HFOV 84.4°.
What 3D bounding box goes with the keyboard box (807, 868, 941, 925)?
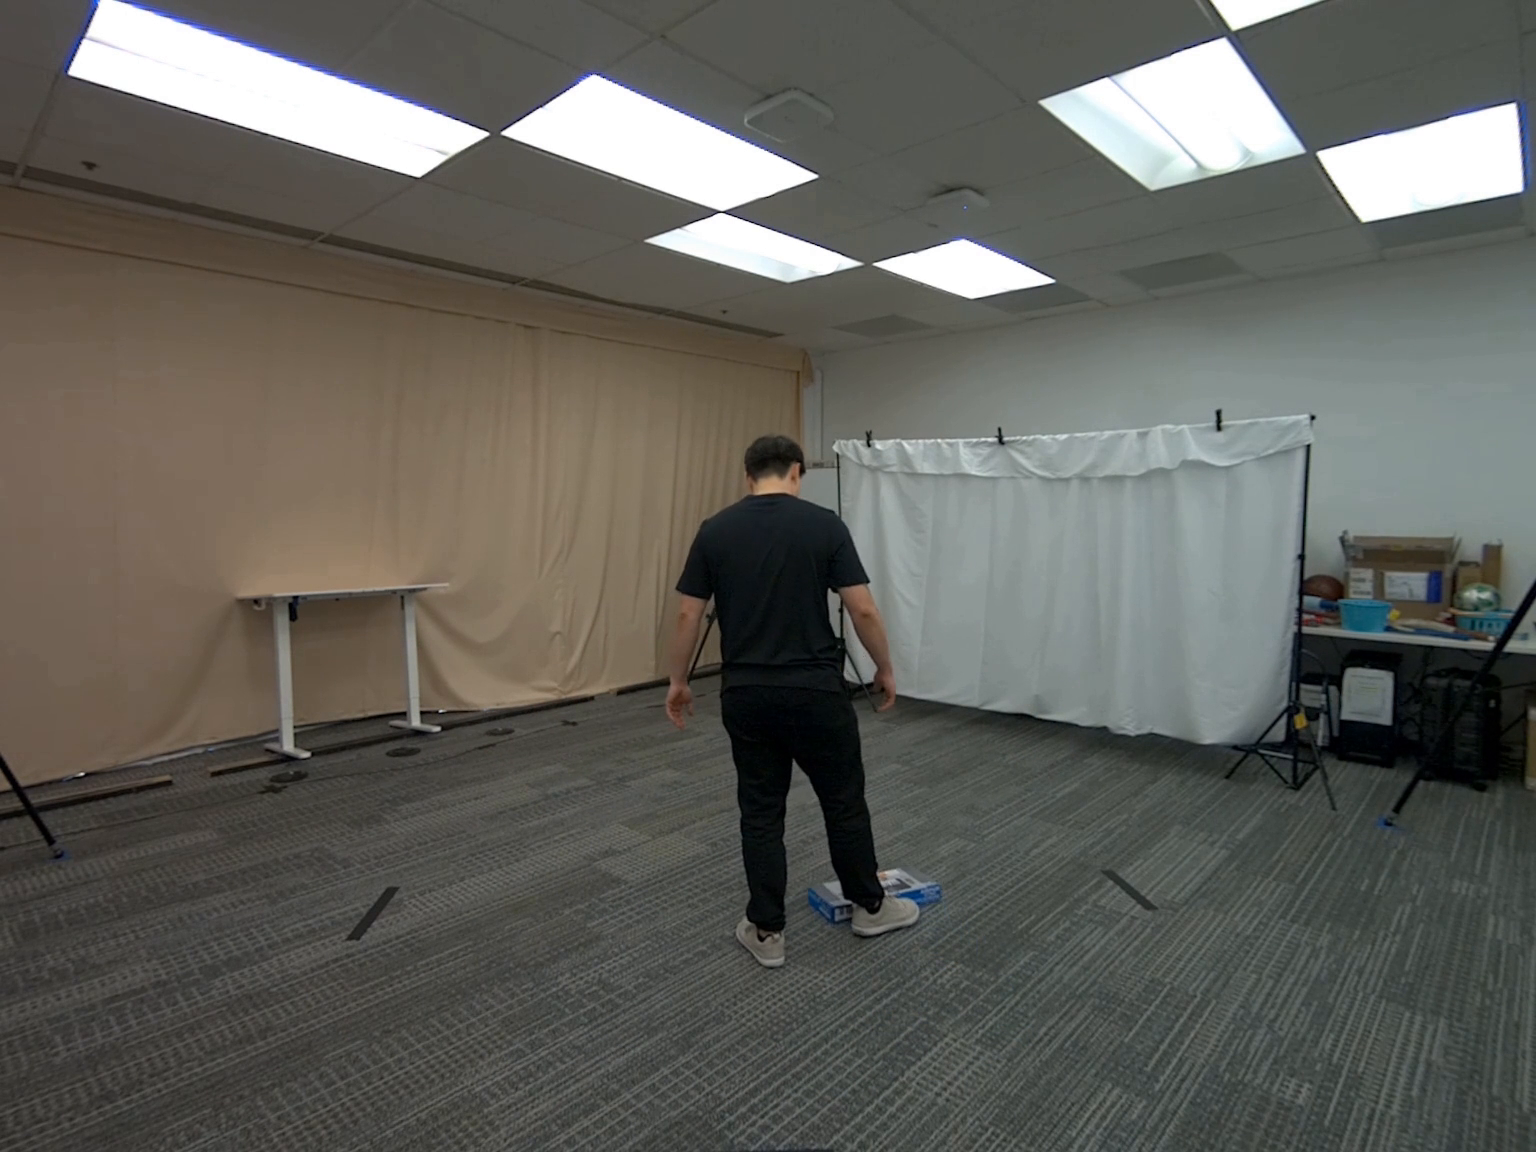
[{"bbox_3d":[0.376,1.113,2.949,0.427,0.059,0.180,-2,4,-23],"label":"keyboard box"}]
